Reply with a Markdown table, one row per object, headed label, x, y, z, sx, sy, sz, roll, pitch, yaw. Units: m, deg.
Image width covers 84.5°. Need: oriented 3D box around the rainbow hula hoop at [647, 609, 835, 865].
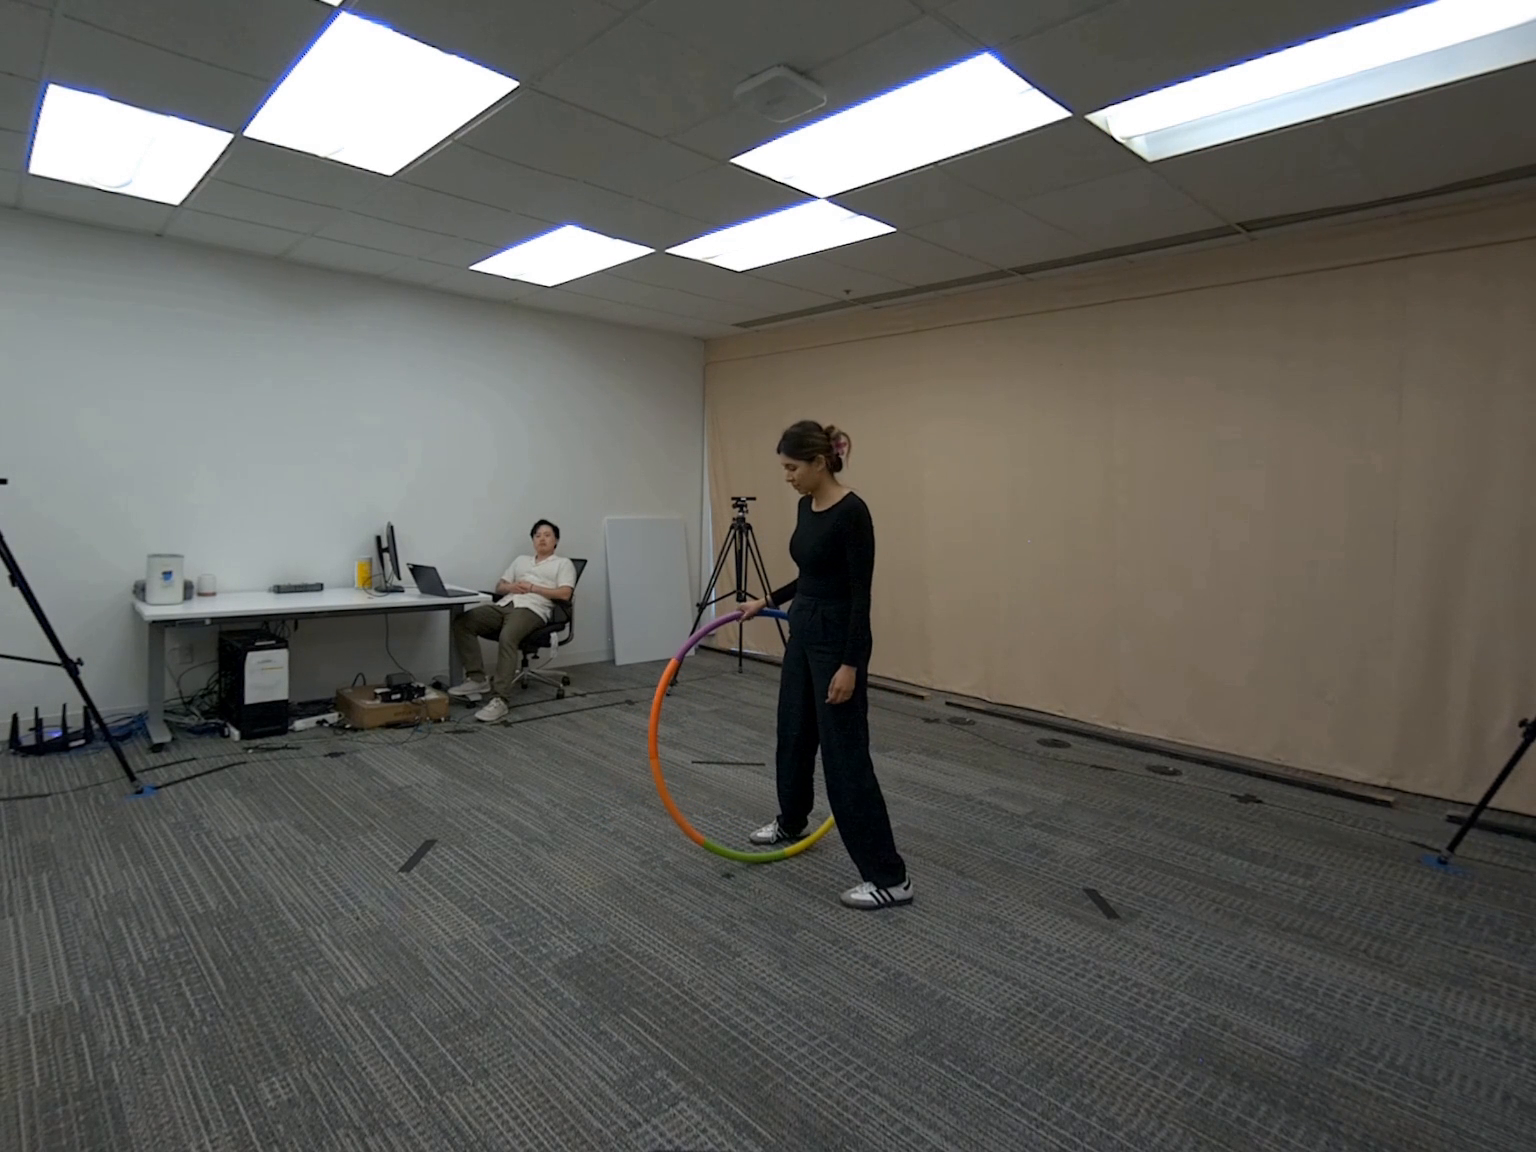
| label | x | y | z | sx | sy | sz | roll | pitch | yaw |
| --- | --- | --- | --- | --- | --- | --- | --- | --- | --- |
| rainbow hula hoop | -0.010 | 0.610 | 3.301 | 0.959 | 0.983 | 0.036 | -1 | -7 | -30 |
